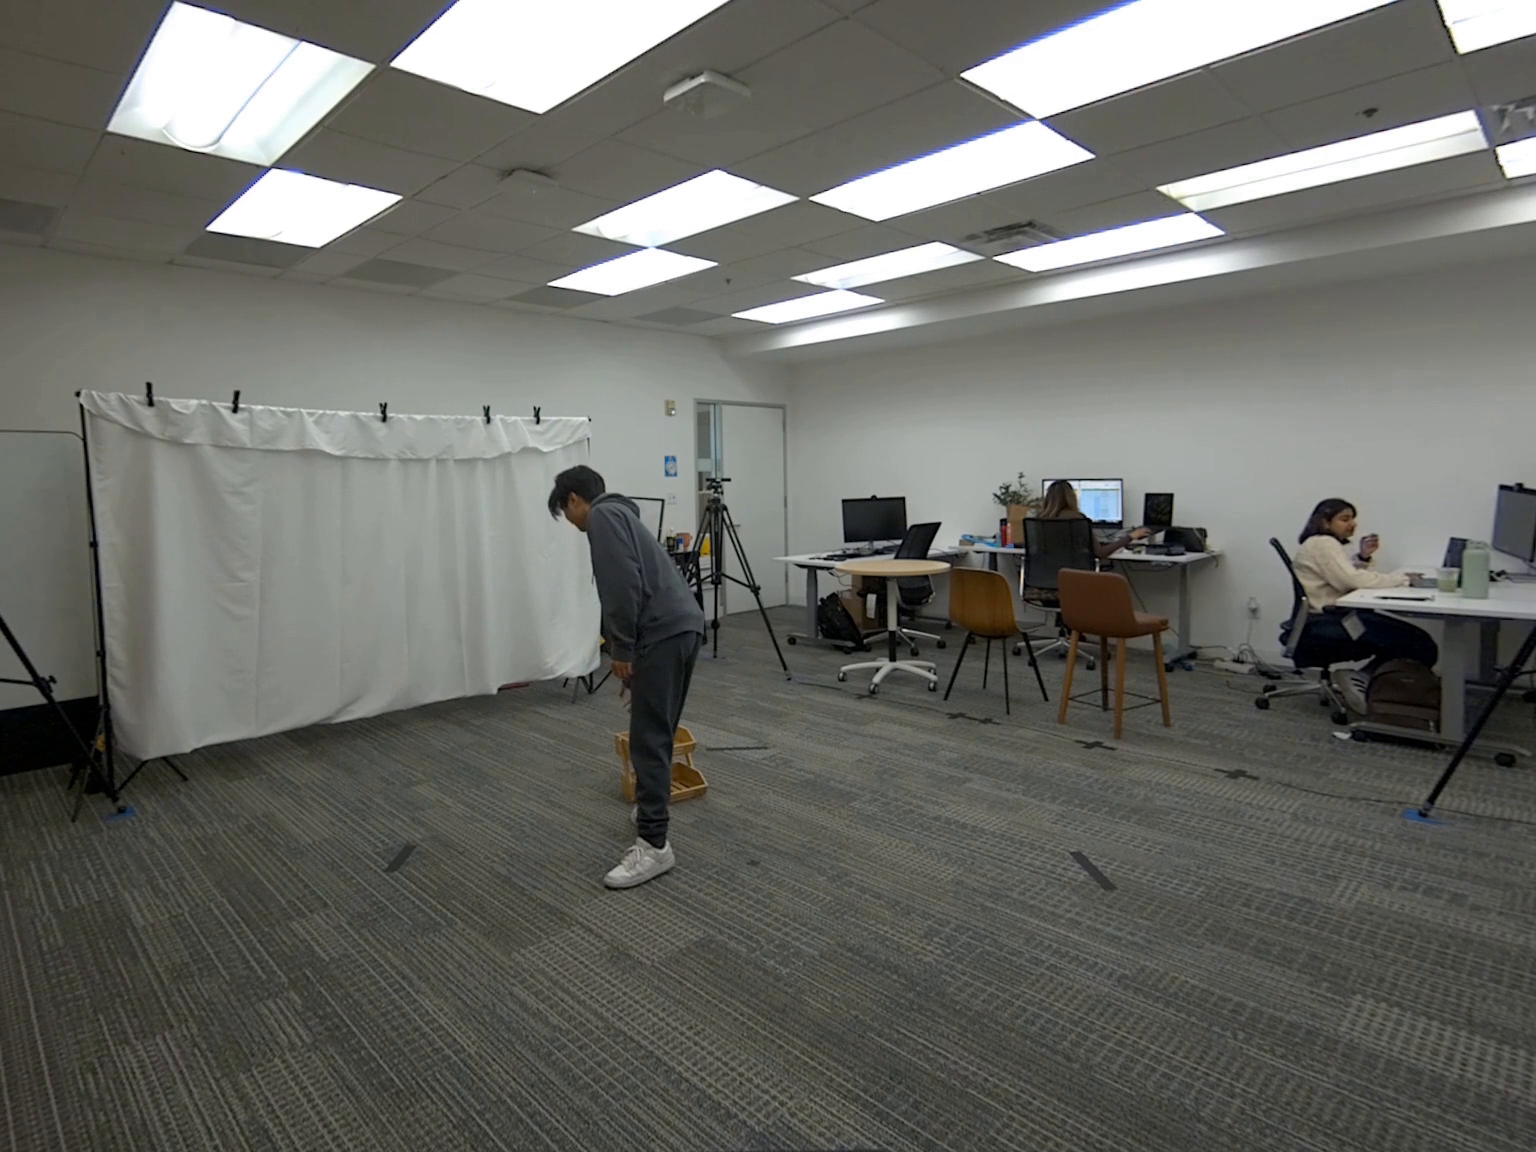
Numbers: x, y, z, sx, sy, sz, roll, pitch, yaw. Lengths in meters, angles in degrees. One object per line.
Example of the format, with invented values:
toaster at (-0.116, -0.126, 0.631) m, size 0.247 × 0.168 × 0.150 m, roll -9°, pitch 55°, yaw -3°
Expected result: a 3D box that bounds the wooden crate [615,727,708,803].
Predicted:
wooden crate at (-0.474, 0.834, 3.813) m, size 0.316 × 0.272 × 0.311 m, roll -5°, pitch 6°, yaw -36°
